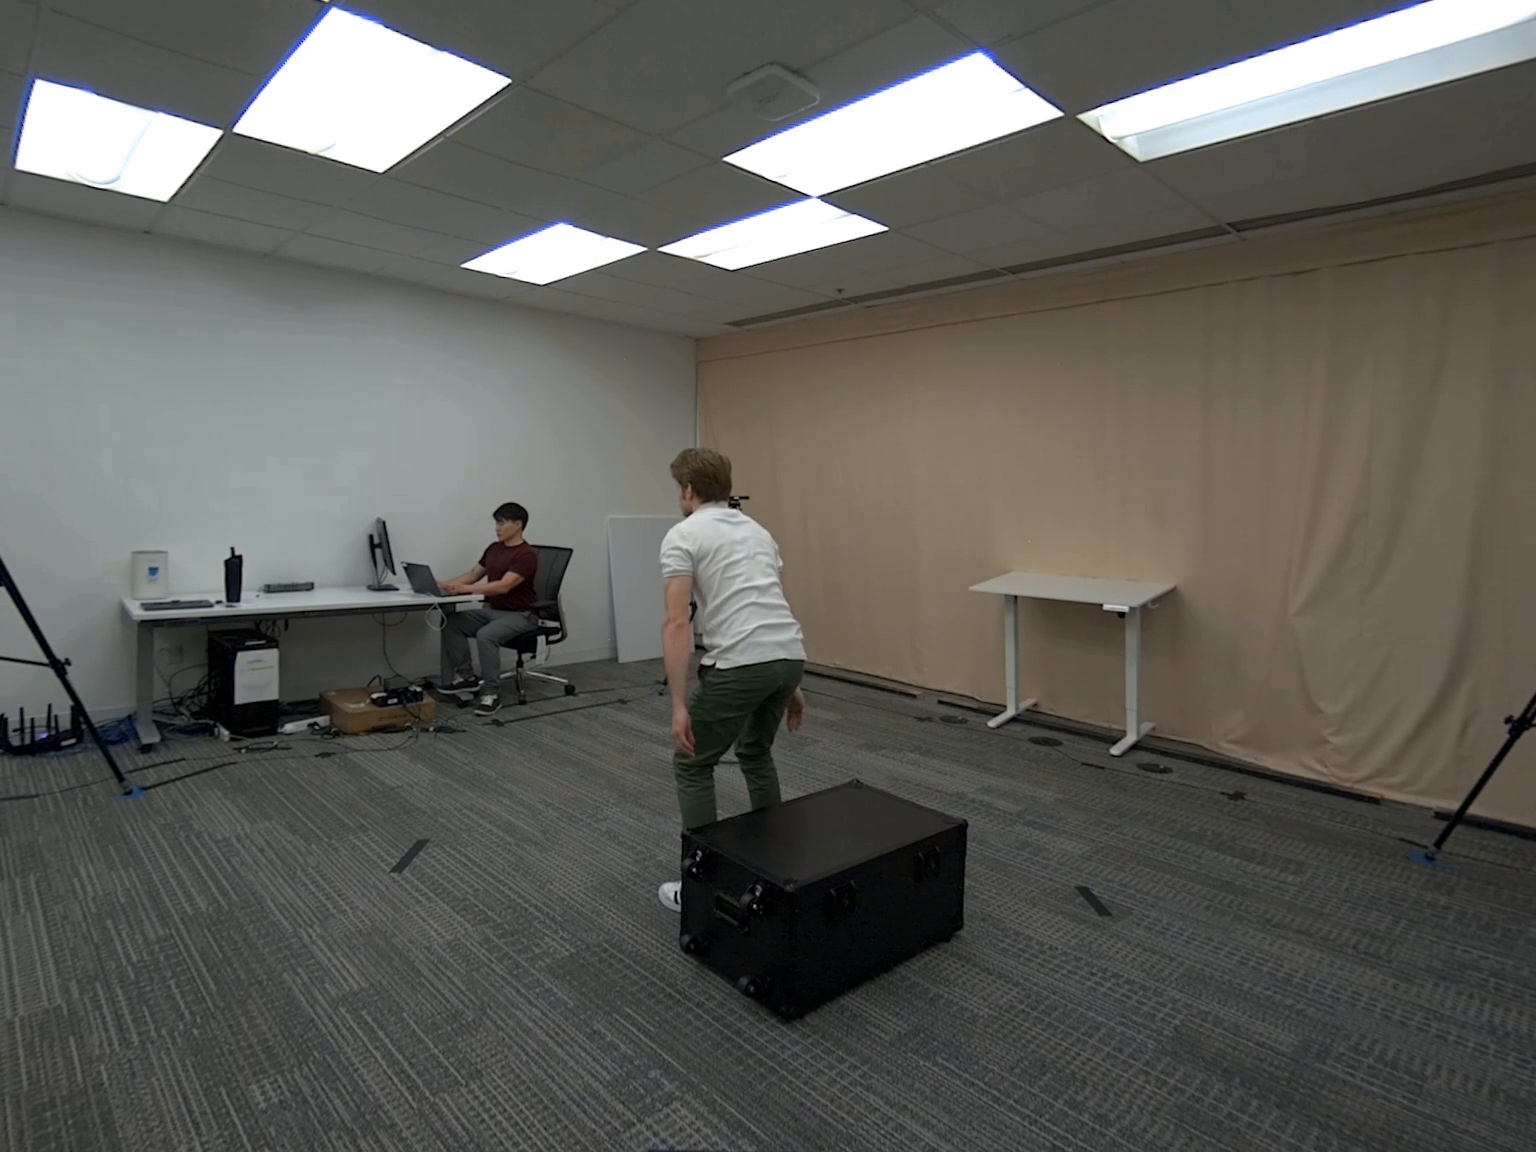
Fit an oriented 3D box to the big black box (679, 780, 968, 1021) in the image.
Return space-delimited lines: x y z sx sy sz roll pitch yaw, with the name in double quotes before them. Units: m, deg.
"big black box" 0.149 0.961 2.609 0.849 0.384 0.537 -3 8 -41
